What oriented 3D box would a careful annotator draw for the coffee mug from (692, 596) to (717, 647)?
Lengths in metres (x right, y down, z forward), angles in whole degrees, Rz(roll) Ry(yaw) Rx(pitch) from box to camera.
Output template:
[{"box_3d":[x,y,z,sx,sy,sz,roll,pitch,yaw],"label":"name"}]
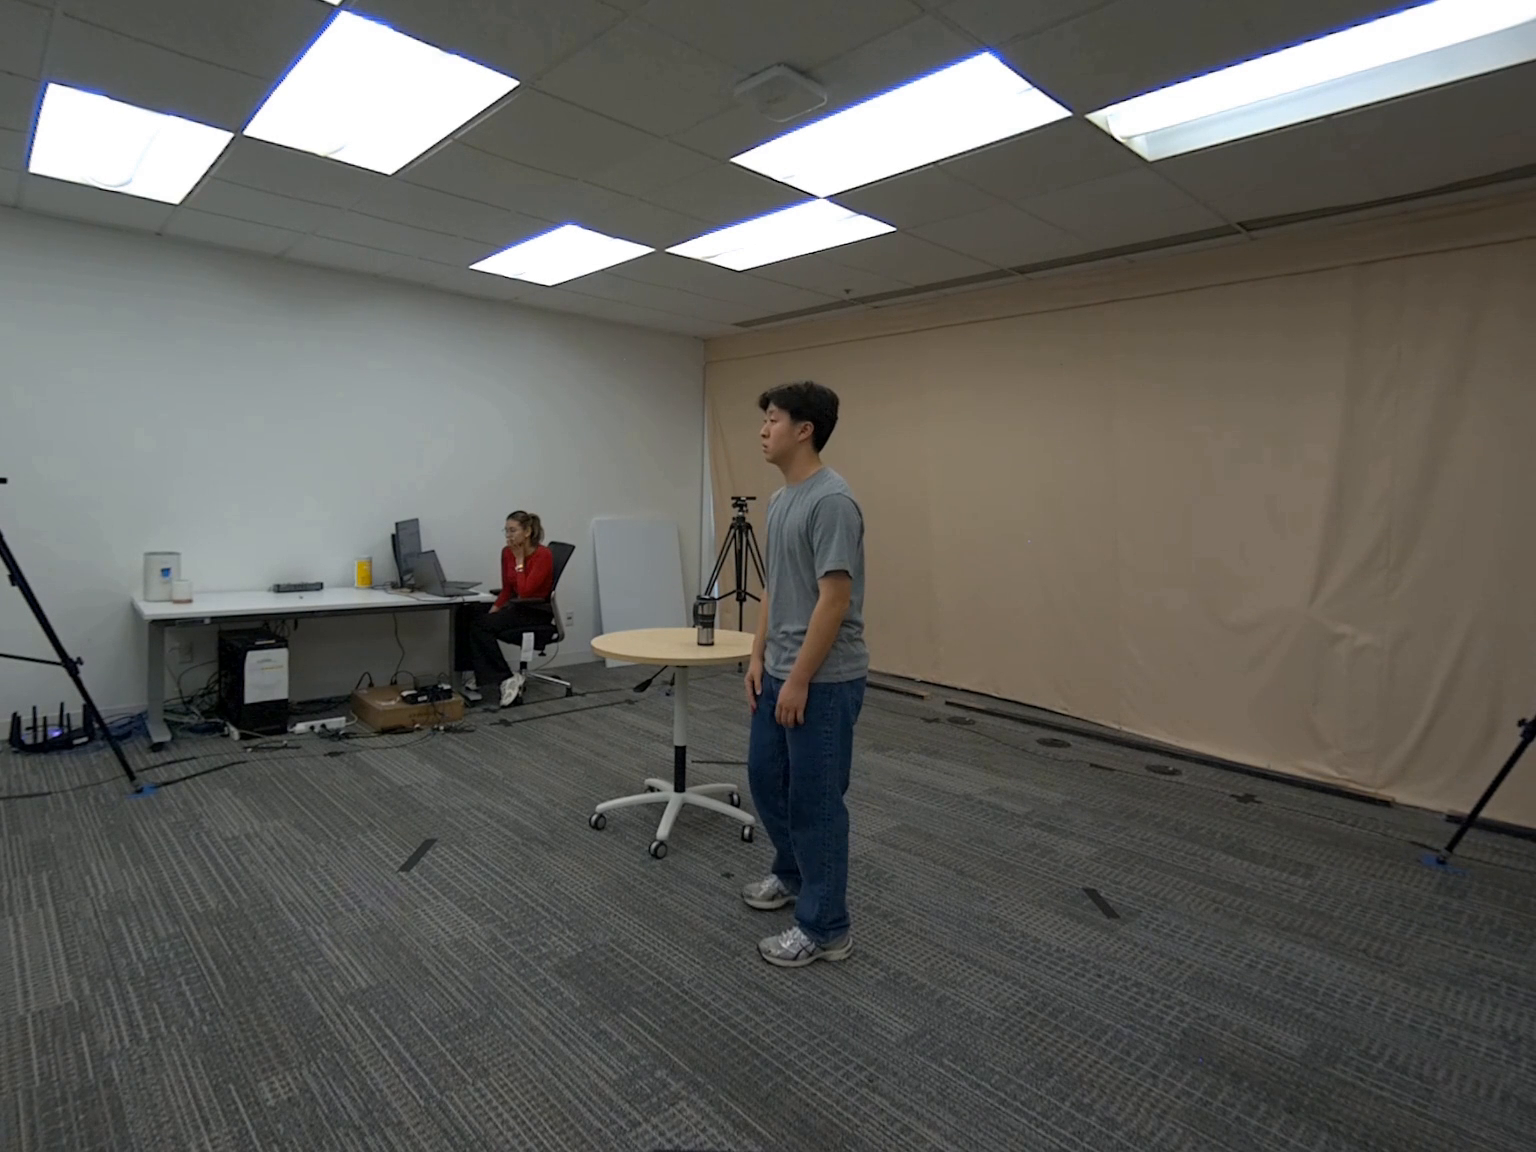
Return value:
[{"box_3d":[-0.284,0.188,3.471,0.119,0.202,0.090,1,7,-43],"label":"coffee mug"}]
